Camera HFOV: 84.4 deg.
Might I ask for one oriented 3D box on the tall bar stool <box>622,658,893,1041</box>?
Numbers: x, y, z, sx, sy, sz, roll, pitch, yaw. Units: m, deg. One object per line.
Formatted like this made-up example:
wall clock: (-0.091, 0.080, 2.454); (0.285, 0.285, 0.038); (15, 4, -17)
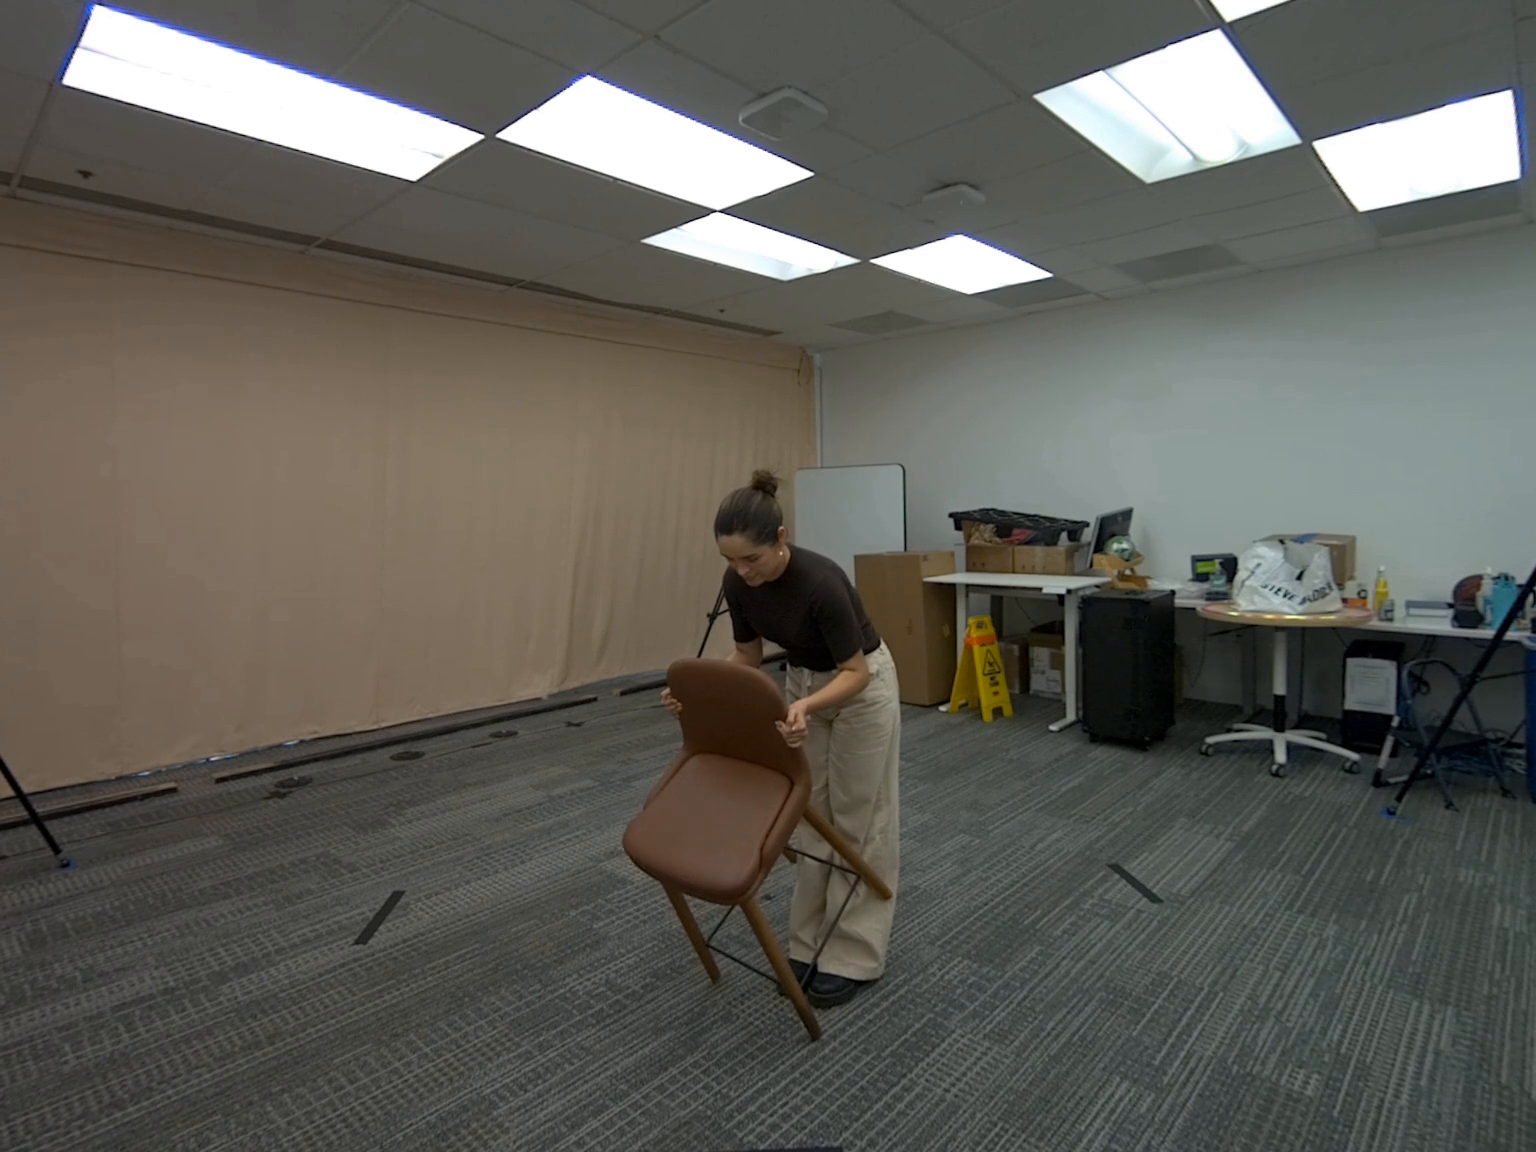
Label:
tall bar stool: (-0.067, 0.714, 2.235); (0.472, 0.868, 0.463); (5, 40, 44)
